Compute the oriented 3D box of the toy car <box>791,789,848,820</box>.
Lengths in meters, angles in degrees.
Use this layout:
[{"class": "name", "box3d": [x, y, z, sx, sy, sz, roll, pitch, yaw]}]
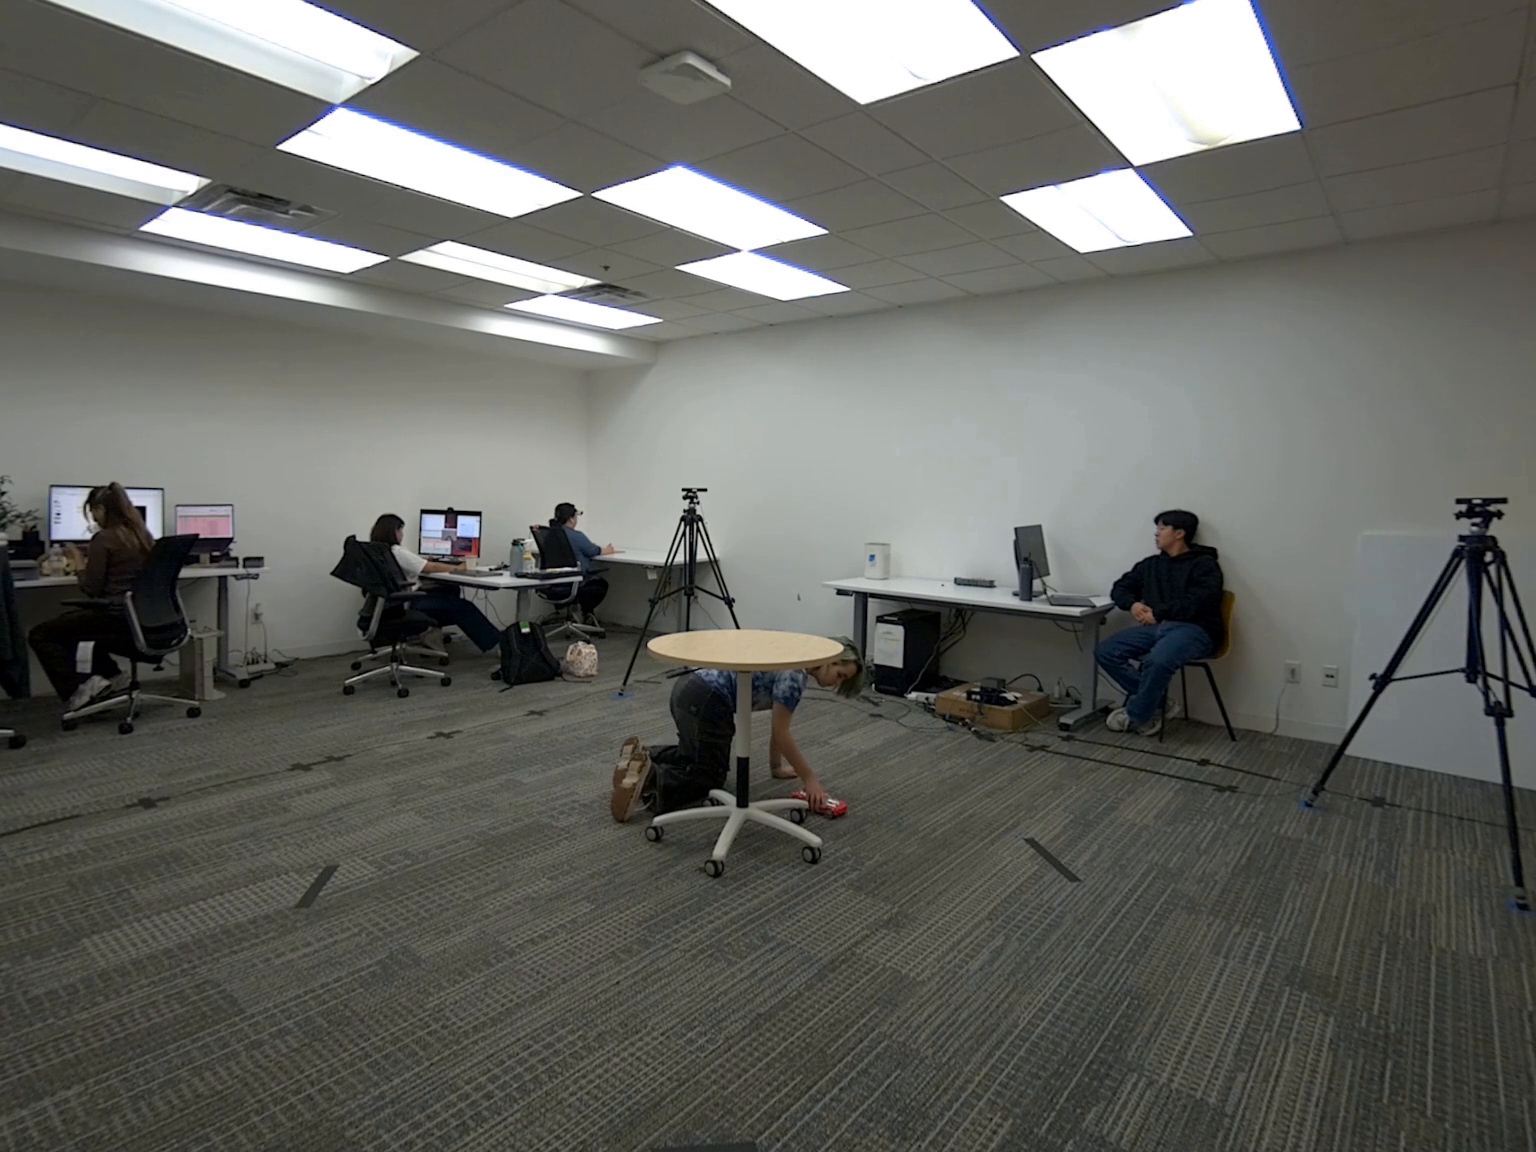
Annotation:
[{"class": "toy car", "box3d": [0.216, 0.995, 3.729, 0.264, 0.082, 0.126, 18, 14, 38]}]
